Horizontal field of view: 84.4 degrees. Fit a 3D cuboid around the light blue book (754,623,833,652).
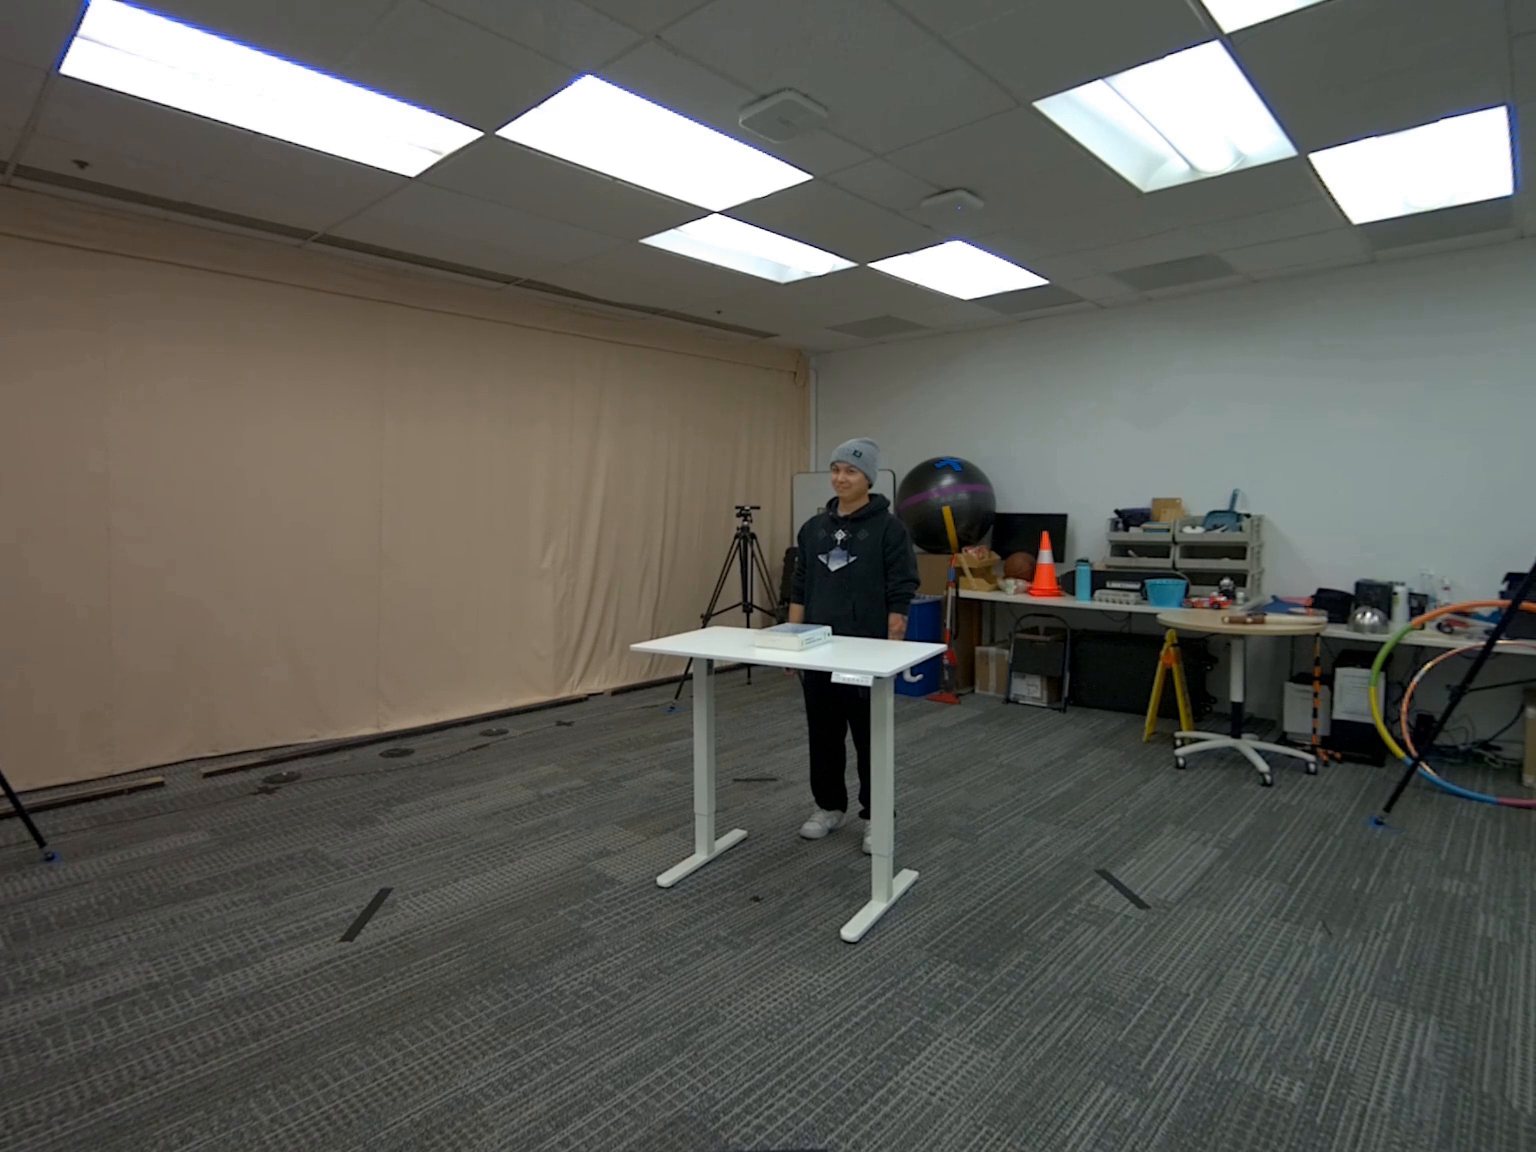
[{"bbox_3d":[0.091,0.224,3.101,0.197,0.059,0.254,3,6,31],"label":"light blue book"}]
